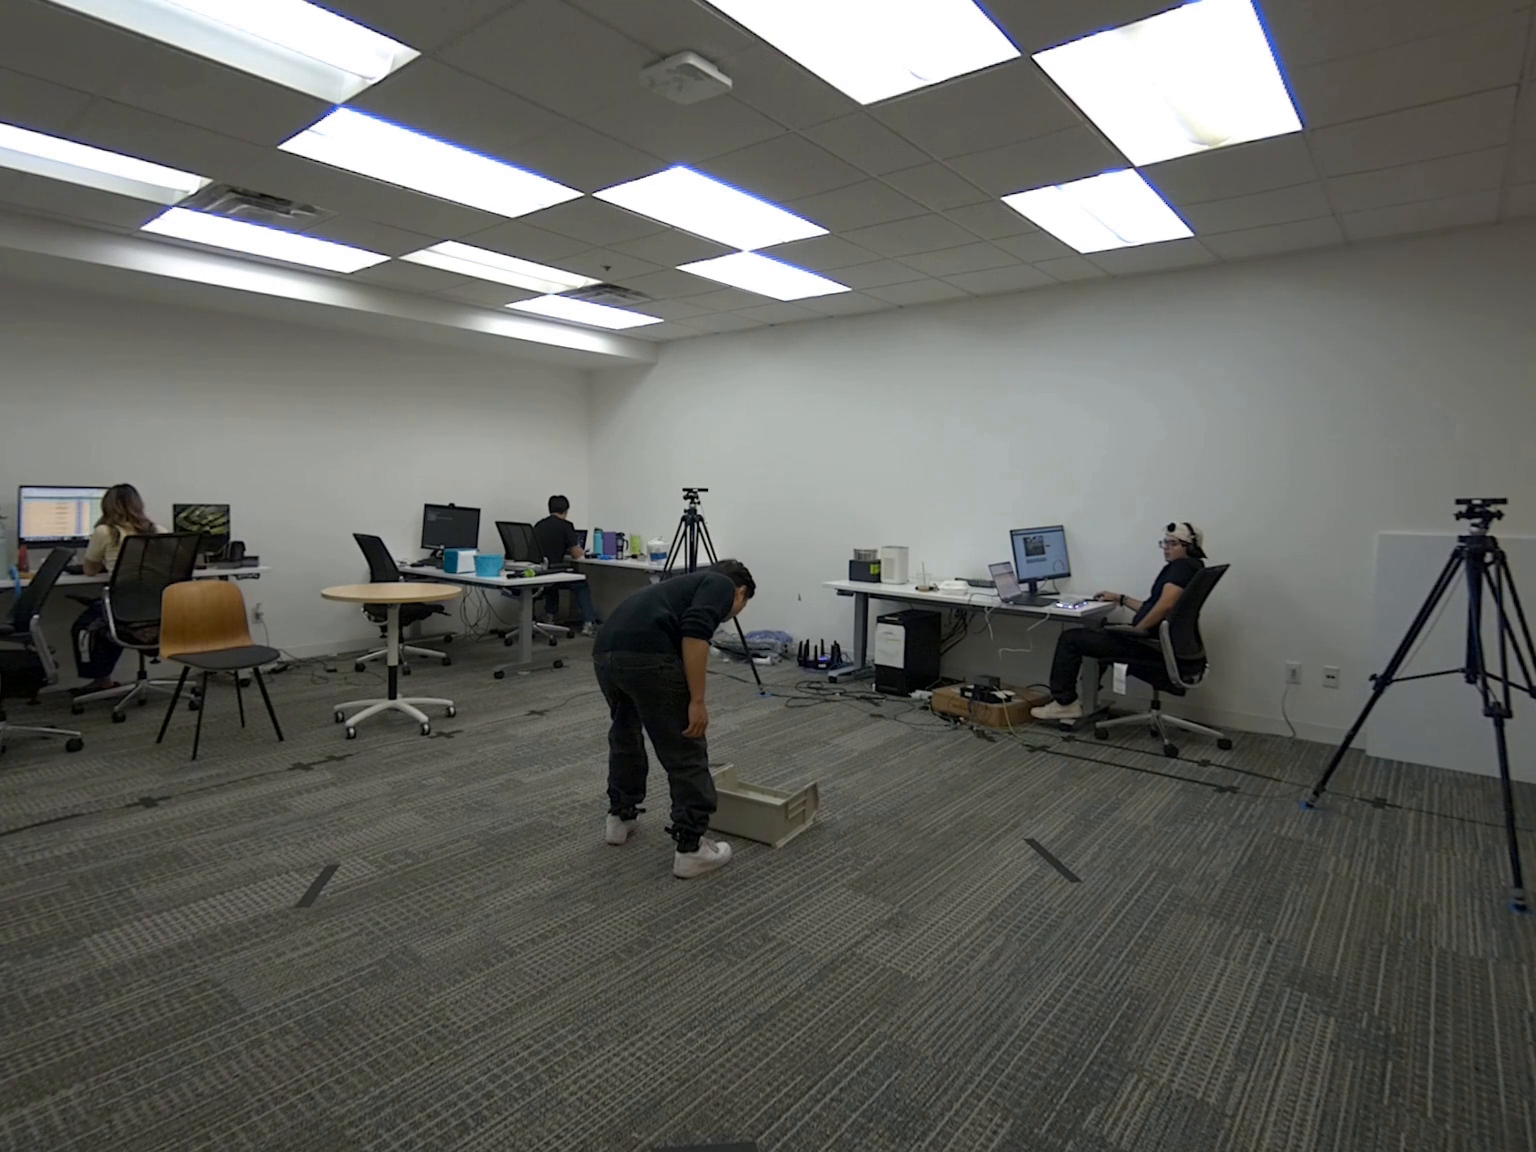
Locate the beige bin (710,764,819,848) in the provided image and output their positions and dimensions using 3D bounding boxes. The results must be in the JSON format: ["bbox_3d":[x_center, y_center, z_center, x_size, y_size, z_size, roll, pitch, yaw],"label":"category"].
[{"bbox_3d":[-0.059,0.942,3.555,0.435,0.188,0.368,4,7,30],"label":"beige bin"}]
